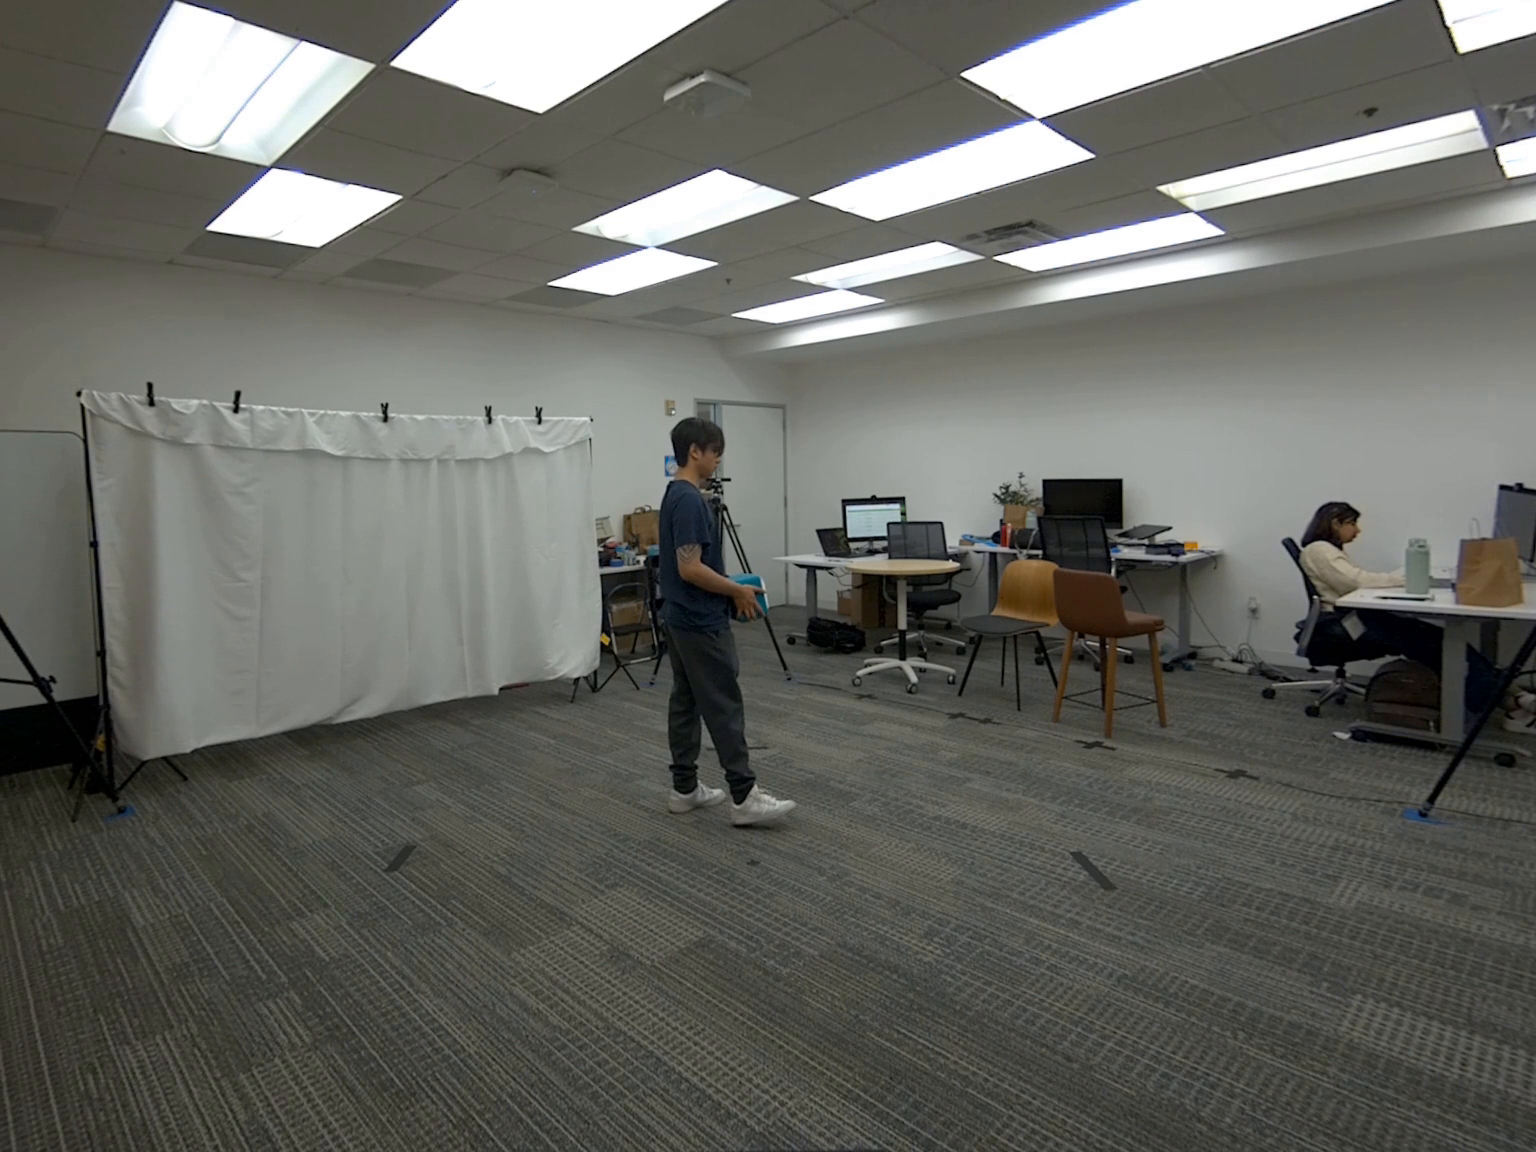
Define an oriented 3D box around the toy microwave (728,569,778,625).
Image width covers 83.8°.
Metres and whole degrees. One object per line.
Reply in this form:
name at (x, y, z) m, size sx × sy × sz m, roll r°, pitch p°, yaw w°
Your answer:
toy microwave at (-0.092, 0.082, 3.667) m, size 0.151 × 0.183 × 0.290 m, roll -14°, pitch 4°, yaw -13°
